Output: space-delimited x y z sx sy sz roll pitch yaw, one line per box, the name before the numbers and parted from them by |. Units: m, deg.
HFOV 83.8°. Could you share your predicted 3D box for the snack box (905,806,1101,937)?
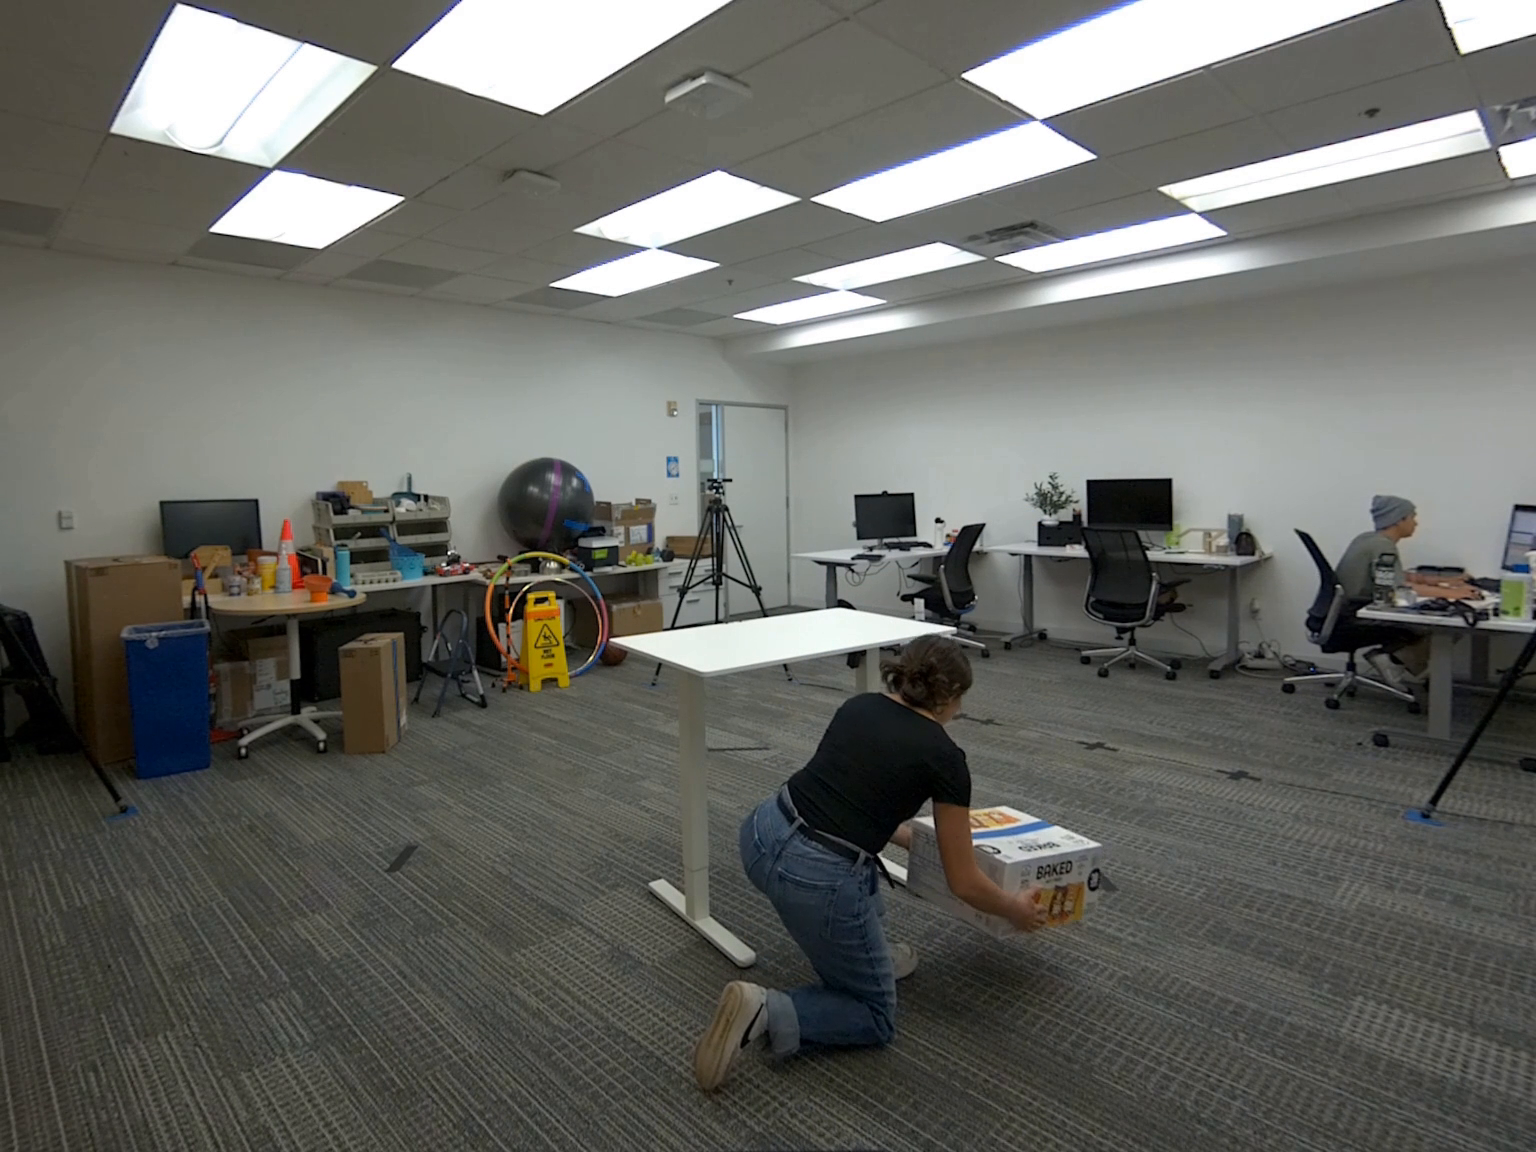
snack box | 0.671 0.824 2.411 0.394 0.205 0.350 3 2 -34
